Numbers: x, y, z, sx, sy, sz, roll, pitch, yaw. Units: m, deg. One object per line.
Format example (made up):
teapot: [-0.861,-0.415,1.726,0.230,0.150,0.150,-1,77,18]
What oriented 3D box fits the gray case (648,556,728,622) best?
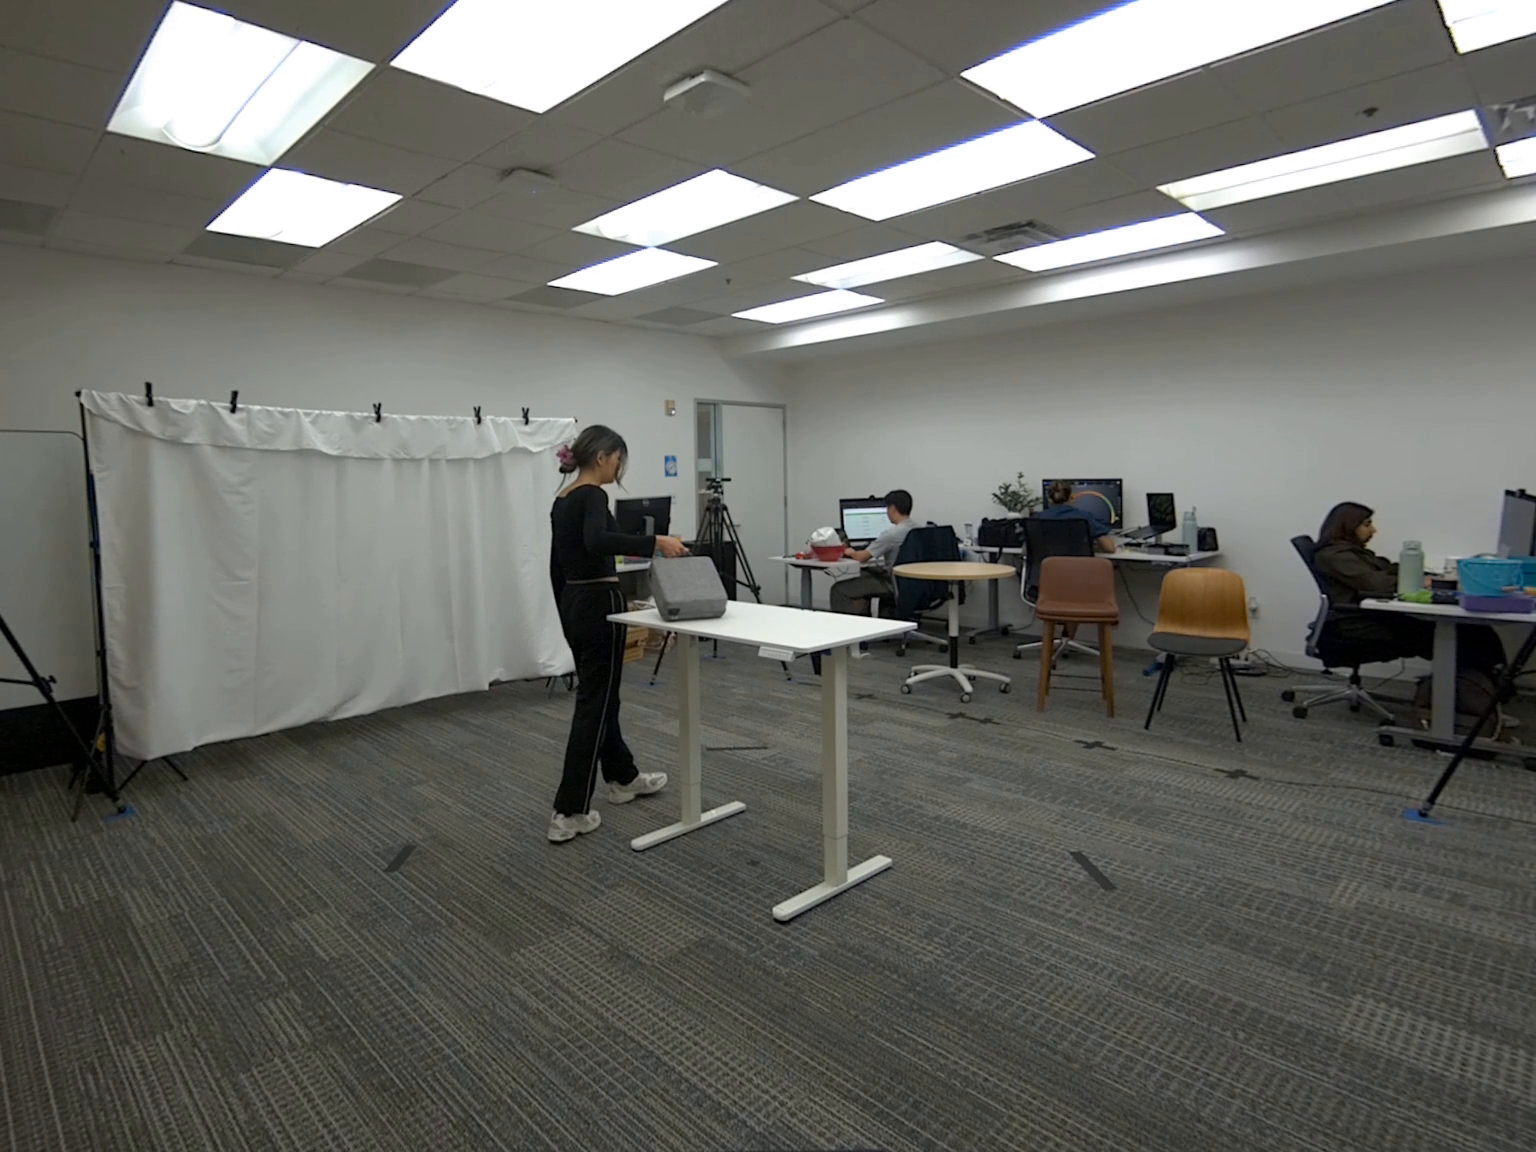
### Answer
gray case: [-0.295,0.042,3.184,0.252,0.102,0.270,-5,43,-22]
